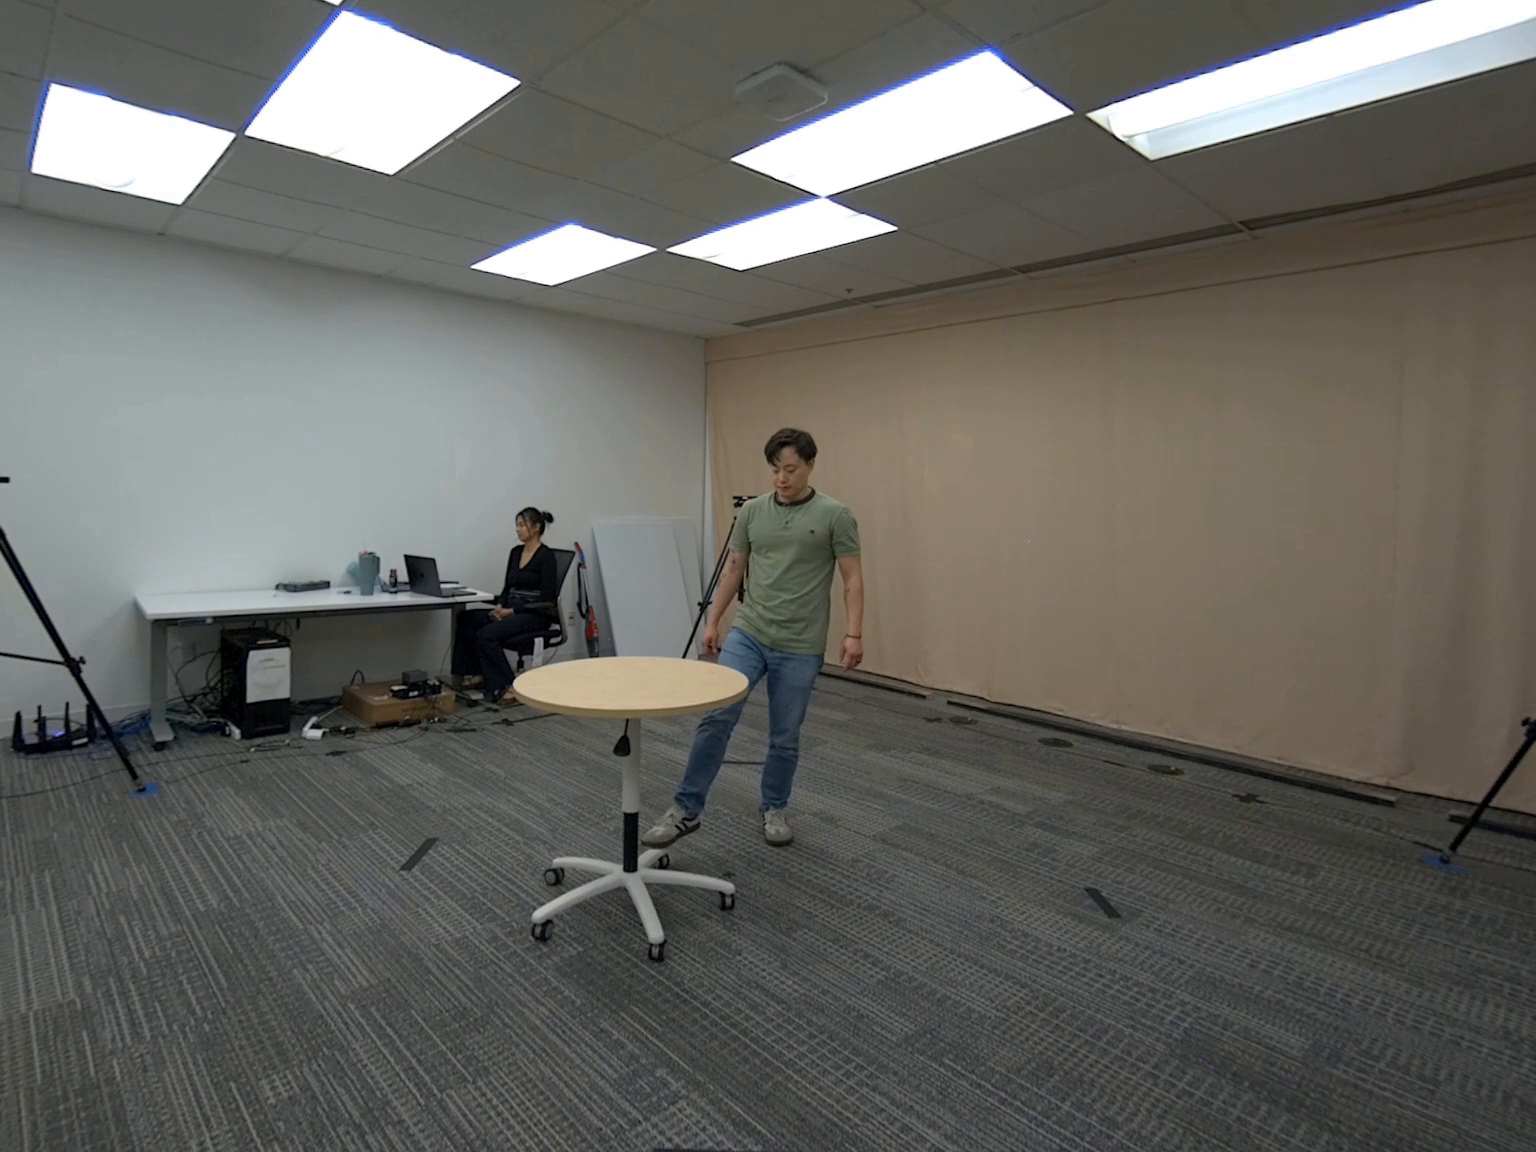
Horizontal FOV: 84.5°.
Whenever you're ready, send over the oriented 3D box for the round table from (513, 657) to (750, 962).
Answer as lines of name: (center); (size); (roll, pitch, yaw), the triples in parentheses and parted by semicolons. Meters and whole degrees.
round table: (-0.466, 0.736, 2.800); (0.763, 0.792, 0.767); (1, 4, -1)
